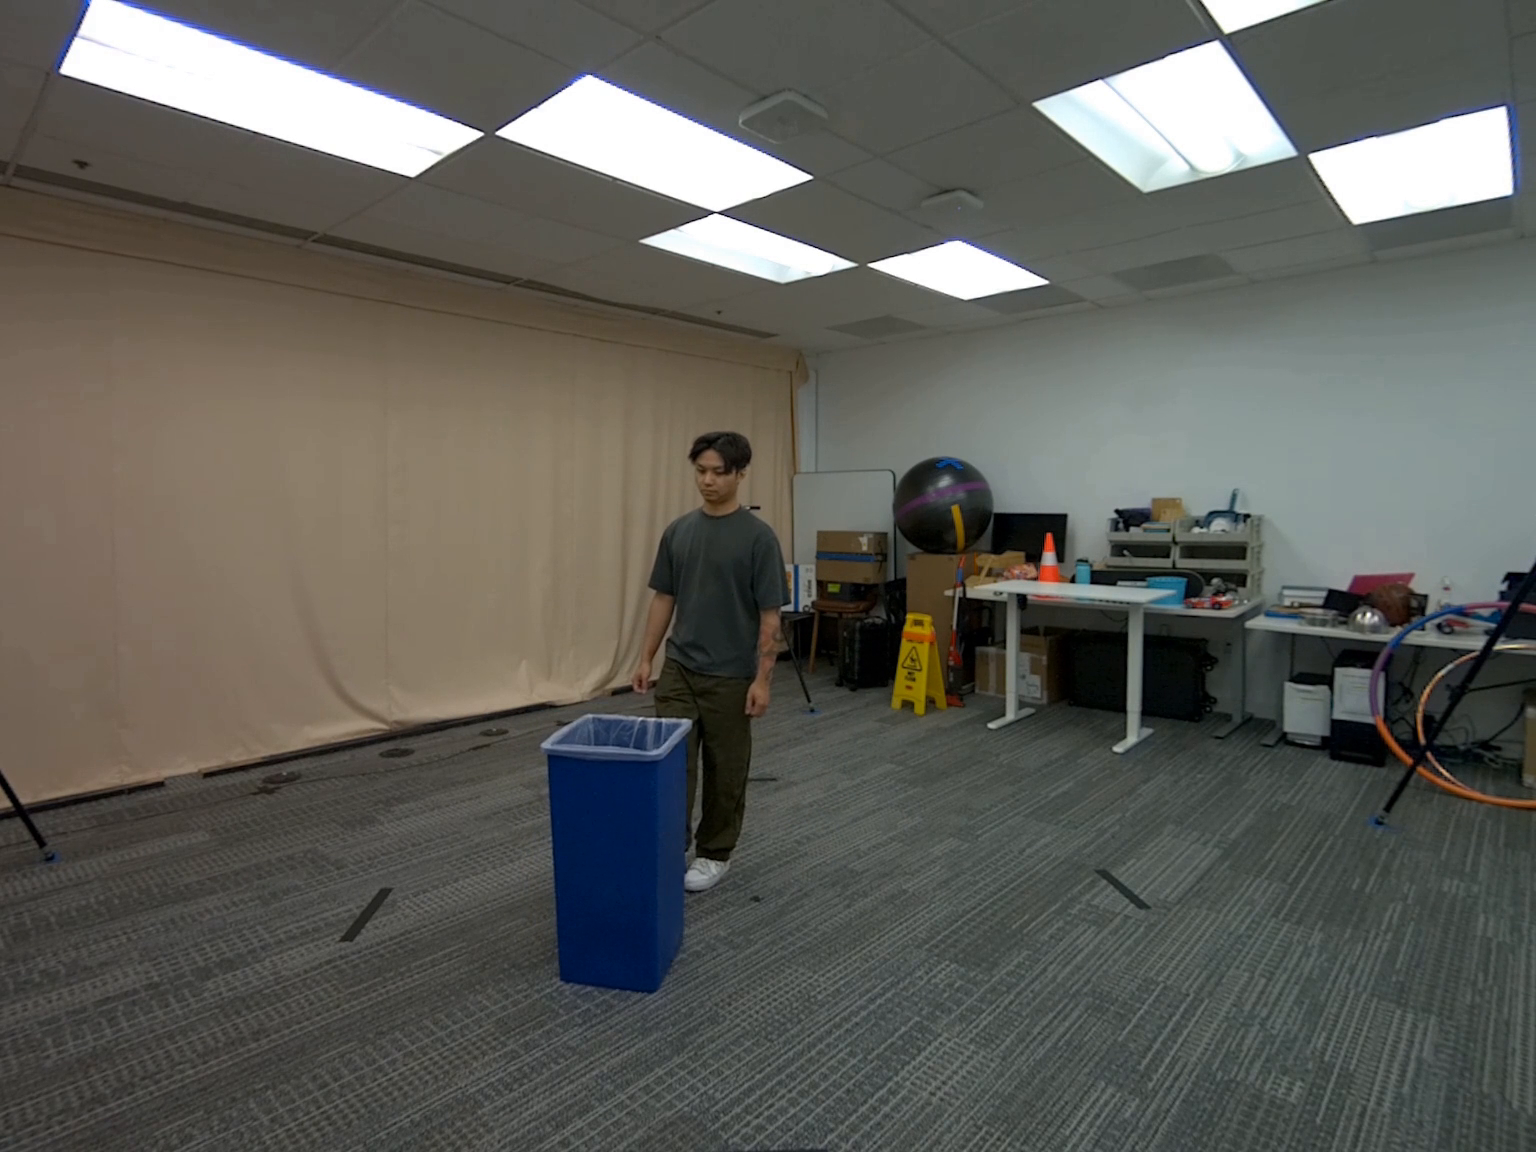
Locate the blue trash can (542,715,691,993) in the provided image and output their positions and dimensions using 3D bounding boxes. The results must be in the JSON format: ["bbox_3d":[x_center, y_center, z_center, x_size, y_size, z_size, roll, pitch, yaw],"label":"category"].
[{"bbox_3d":[-0.440,0.826,2.561,0.379,0.711,0.374,0,5,12],"label":"blue trash can"}]
